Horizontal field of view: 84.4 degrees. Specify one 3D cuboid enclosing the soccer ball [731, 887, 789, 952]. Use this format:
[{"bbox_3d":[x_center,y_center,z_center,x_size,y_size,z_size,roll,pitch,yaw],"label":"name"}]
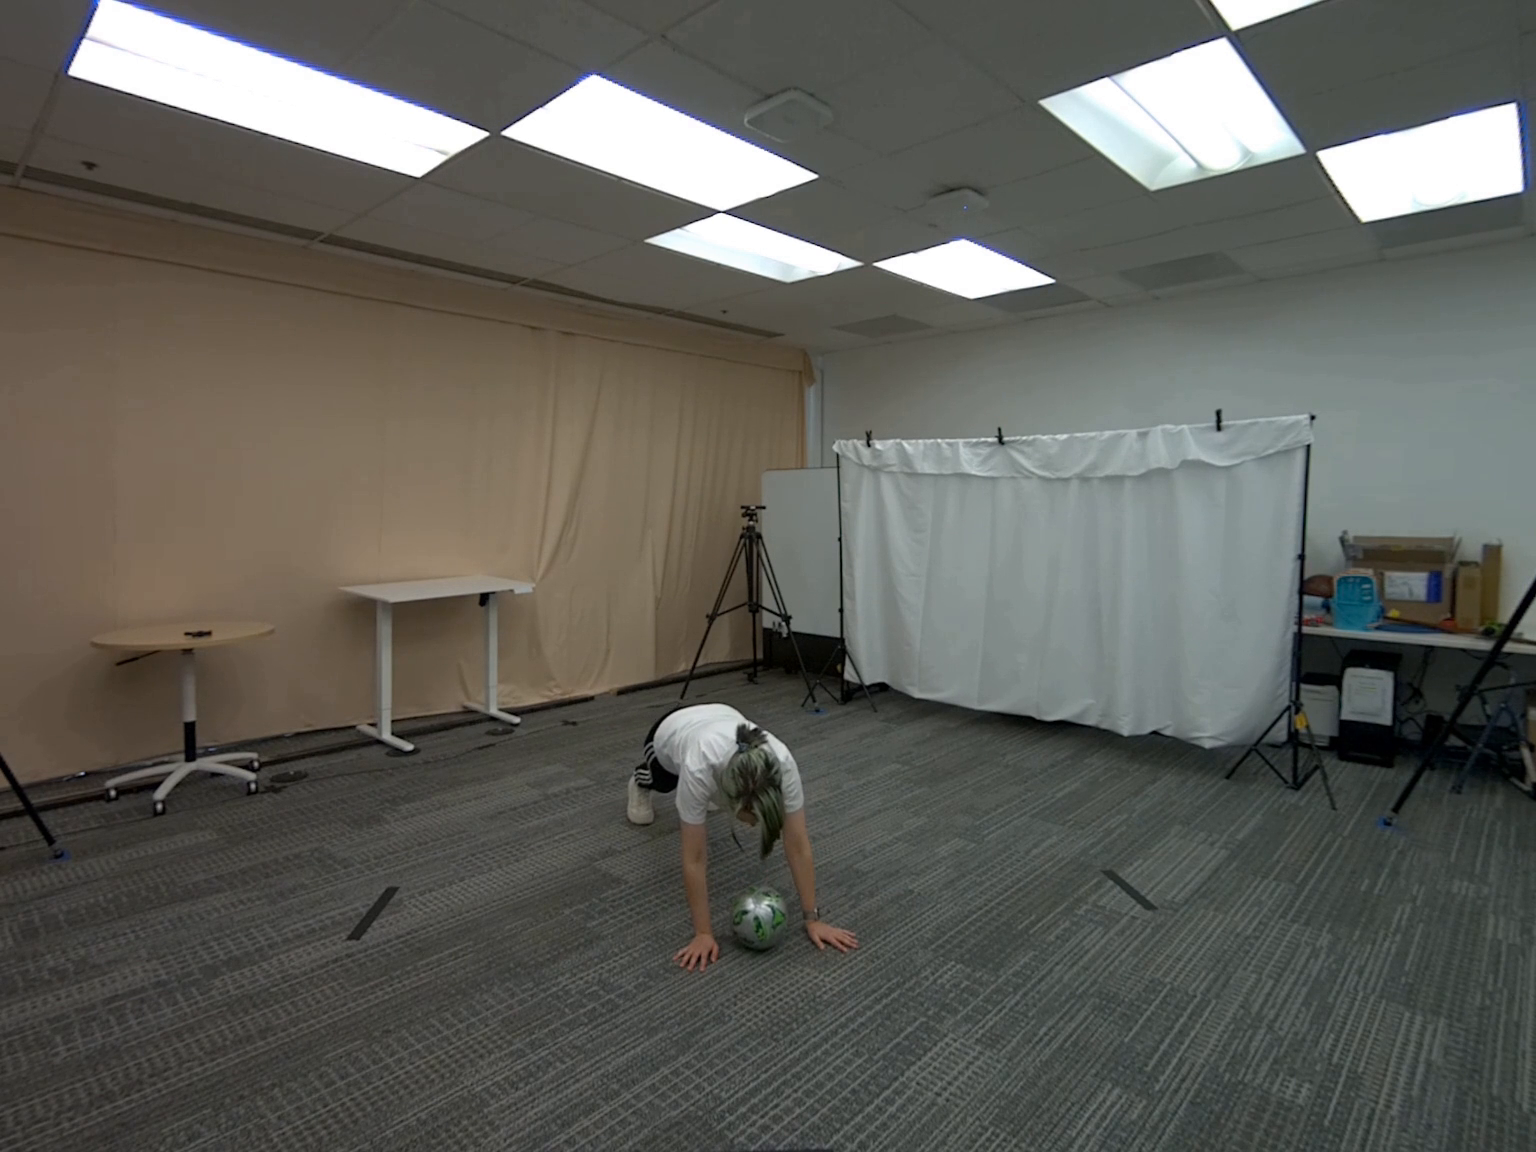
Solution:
[{"bbox_3d":[-0.027,1.076,2.661,0.187,0.187,0.188,0,4,-2],"label":"soccer ball"}]
